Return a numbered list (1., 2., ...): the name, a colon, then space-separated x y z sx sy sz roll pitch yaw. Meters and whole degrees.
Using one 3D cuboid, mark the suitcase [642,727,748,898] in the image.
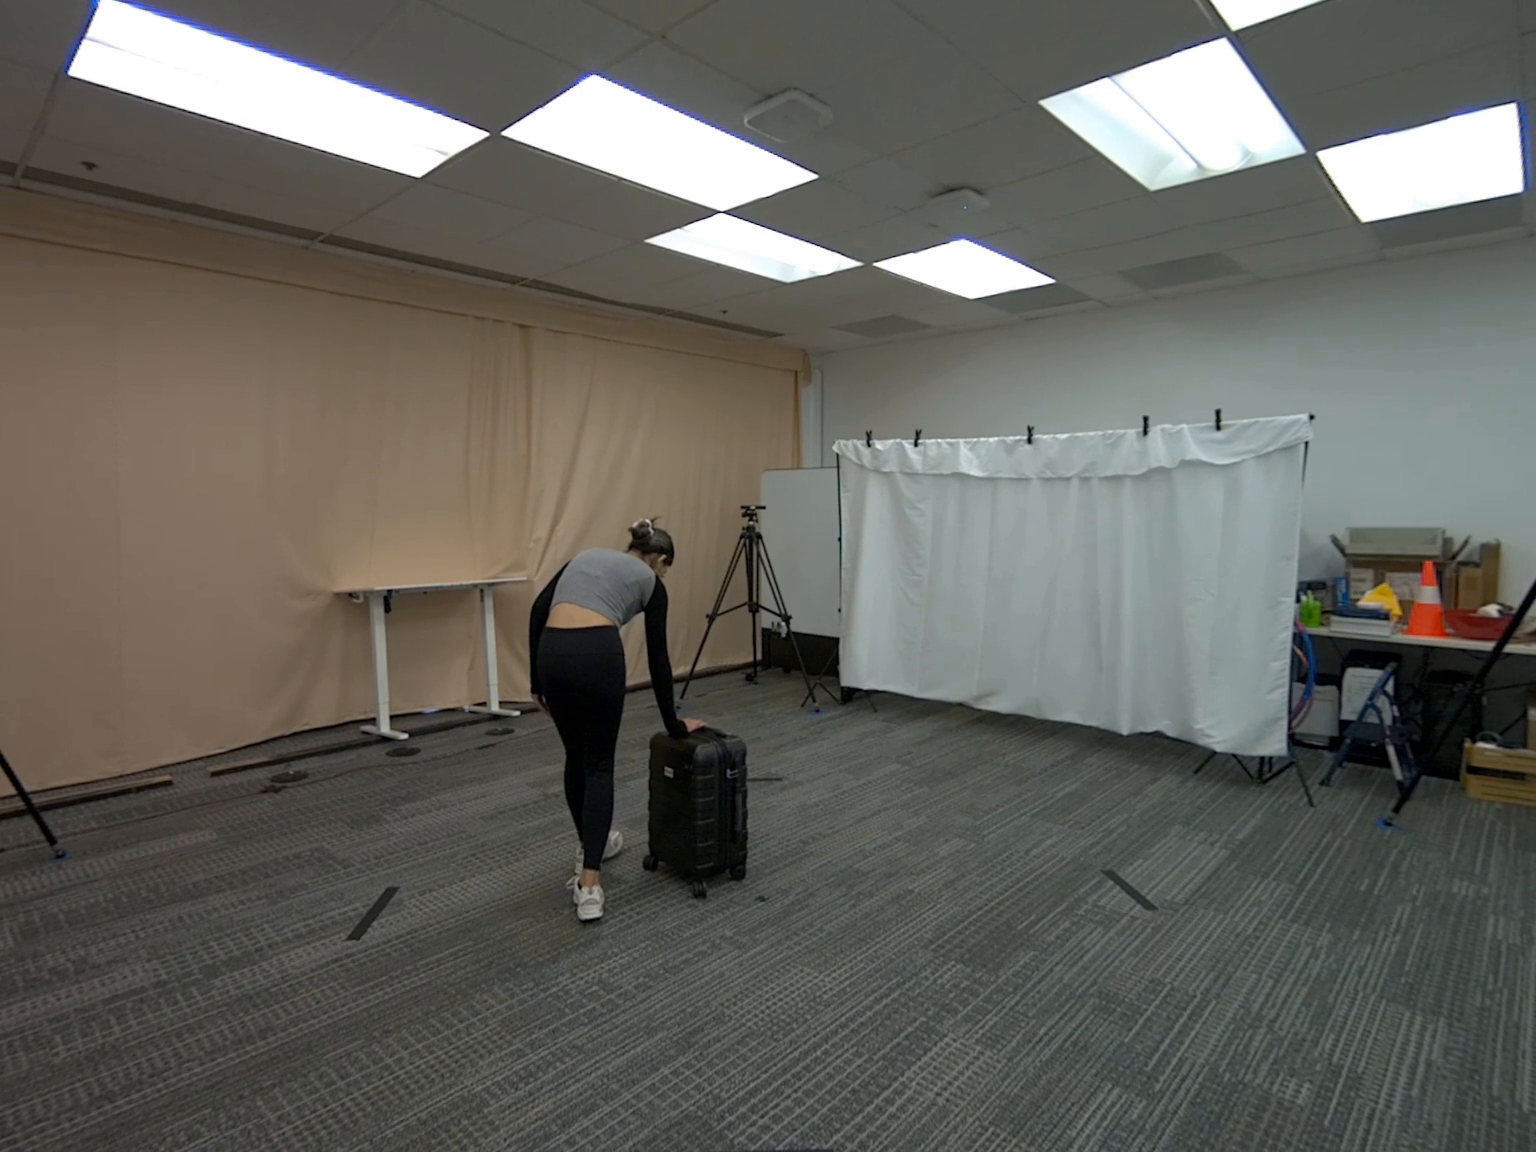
1. suitcase: -0.265 0.850 3.184 0.240 0.549 0.388 0 3 -43
